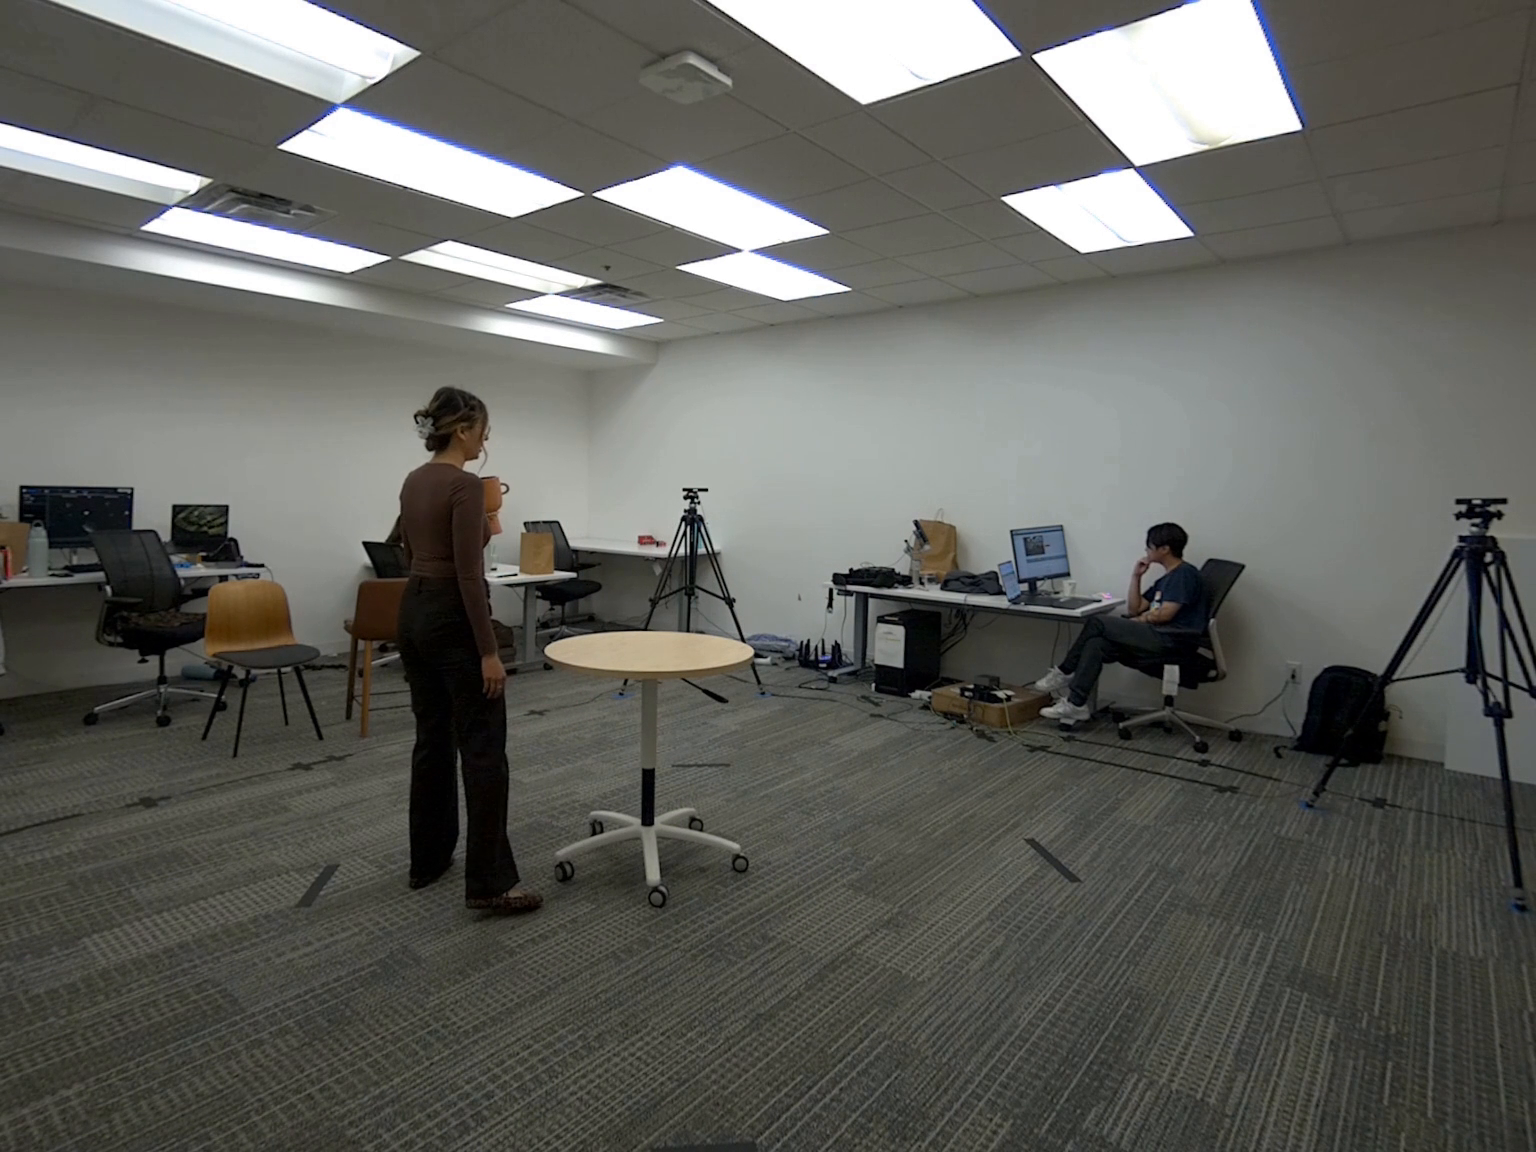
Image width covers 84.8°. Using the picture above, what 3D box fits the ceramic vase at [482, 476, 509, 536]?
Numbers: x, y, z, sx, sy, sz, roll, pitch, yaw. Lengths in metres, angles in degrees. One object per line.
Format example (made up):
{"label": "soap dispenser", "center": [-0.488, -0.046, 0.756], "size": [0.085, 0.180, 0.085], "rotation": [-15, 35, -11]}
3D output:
{"label": "ceramic vase", "center": [-1.118, -0.275, 3.310], "size": [0.162, 0.217, 0.133], "rotation": [-2, 11, 23]}
